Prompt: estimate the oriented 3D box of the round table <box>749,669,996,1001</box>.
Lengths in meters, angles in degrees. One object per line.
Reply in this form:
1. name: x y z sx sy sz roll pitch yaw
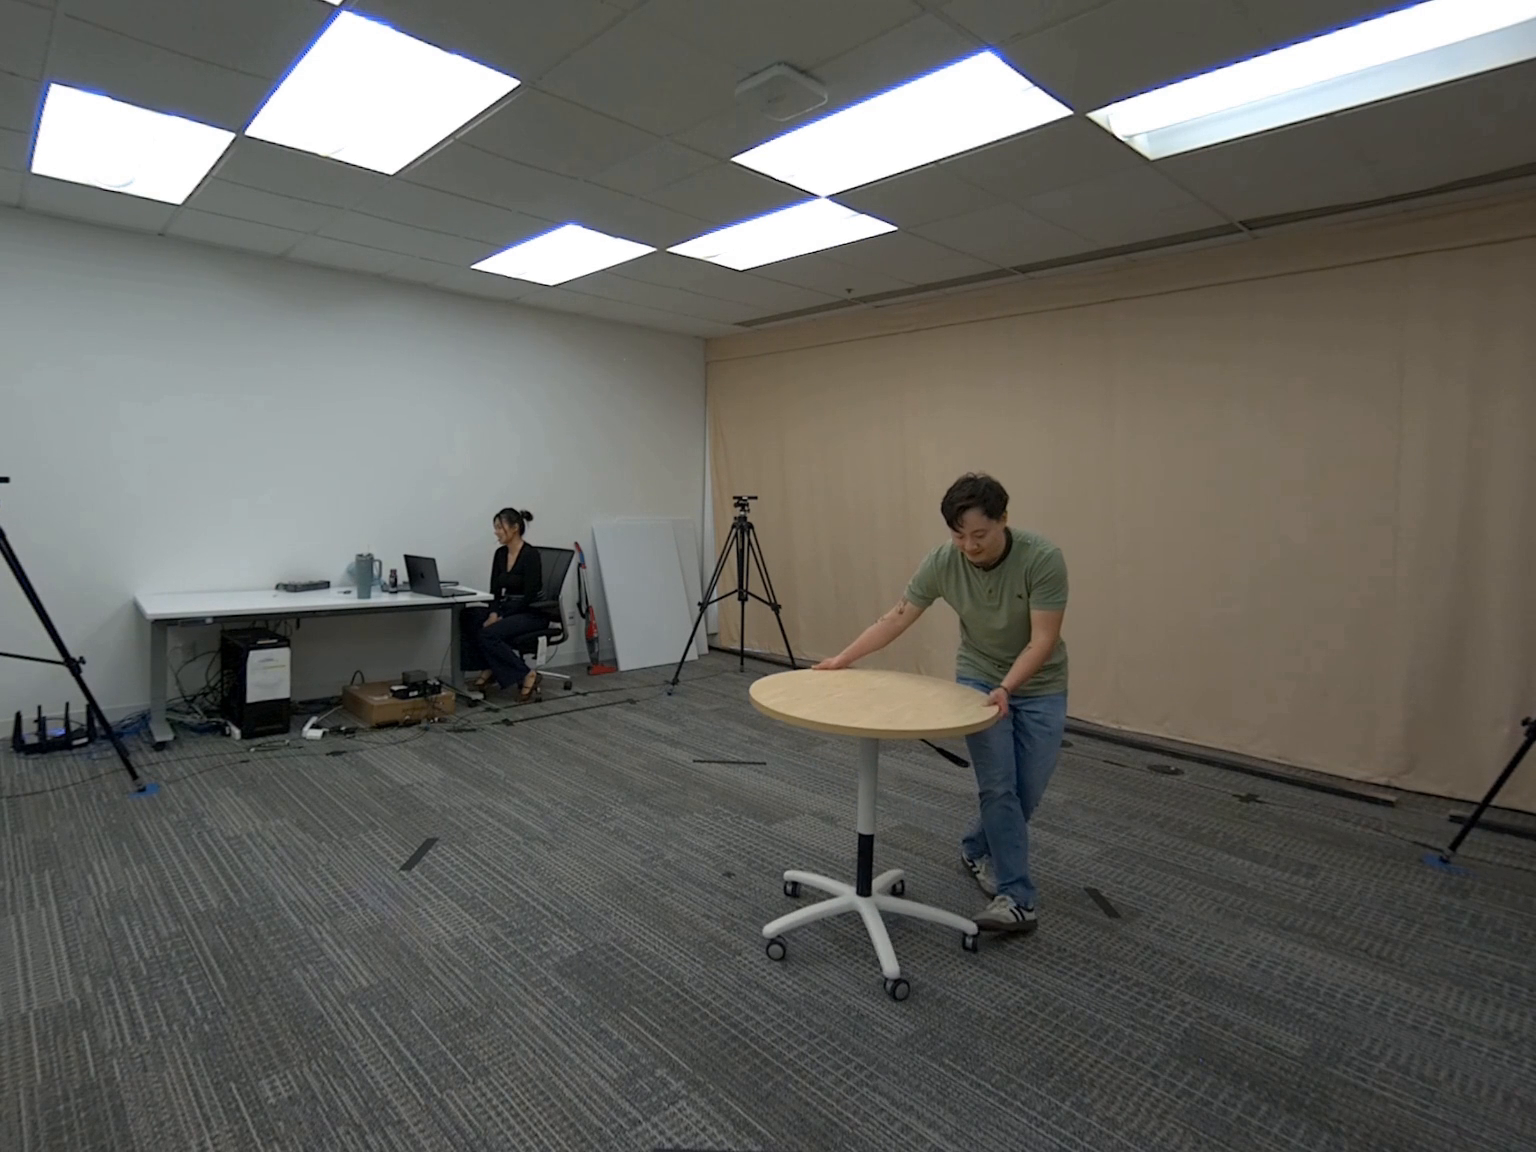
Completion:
1. round table: 0.306 0.764 2.665 0.763 0.791 0.767 1 5 -1
